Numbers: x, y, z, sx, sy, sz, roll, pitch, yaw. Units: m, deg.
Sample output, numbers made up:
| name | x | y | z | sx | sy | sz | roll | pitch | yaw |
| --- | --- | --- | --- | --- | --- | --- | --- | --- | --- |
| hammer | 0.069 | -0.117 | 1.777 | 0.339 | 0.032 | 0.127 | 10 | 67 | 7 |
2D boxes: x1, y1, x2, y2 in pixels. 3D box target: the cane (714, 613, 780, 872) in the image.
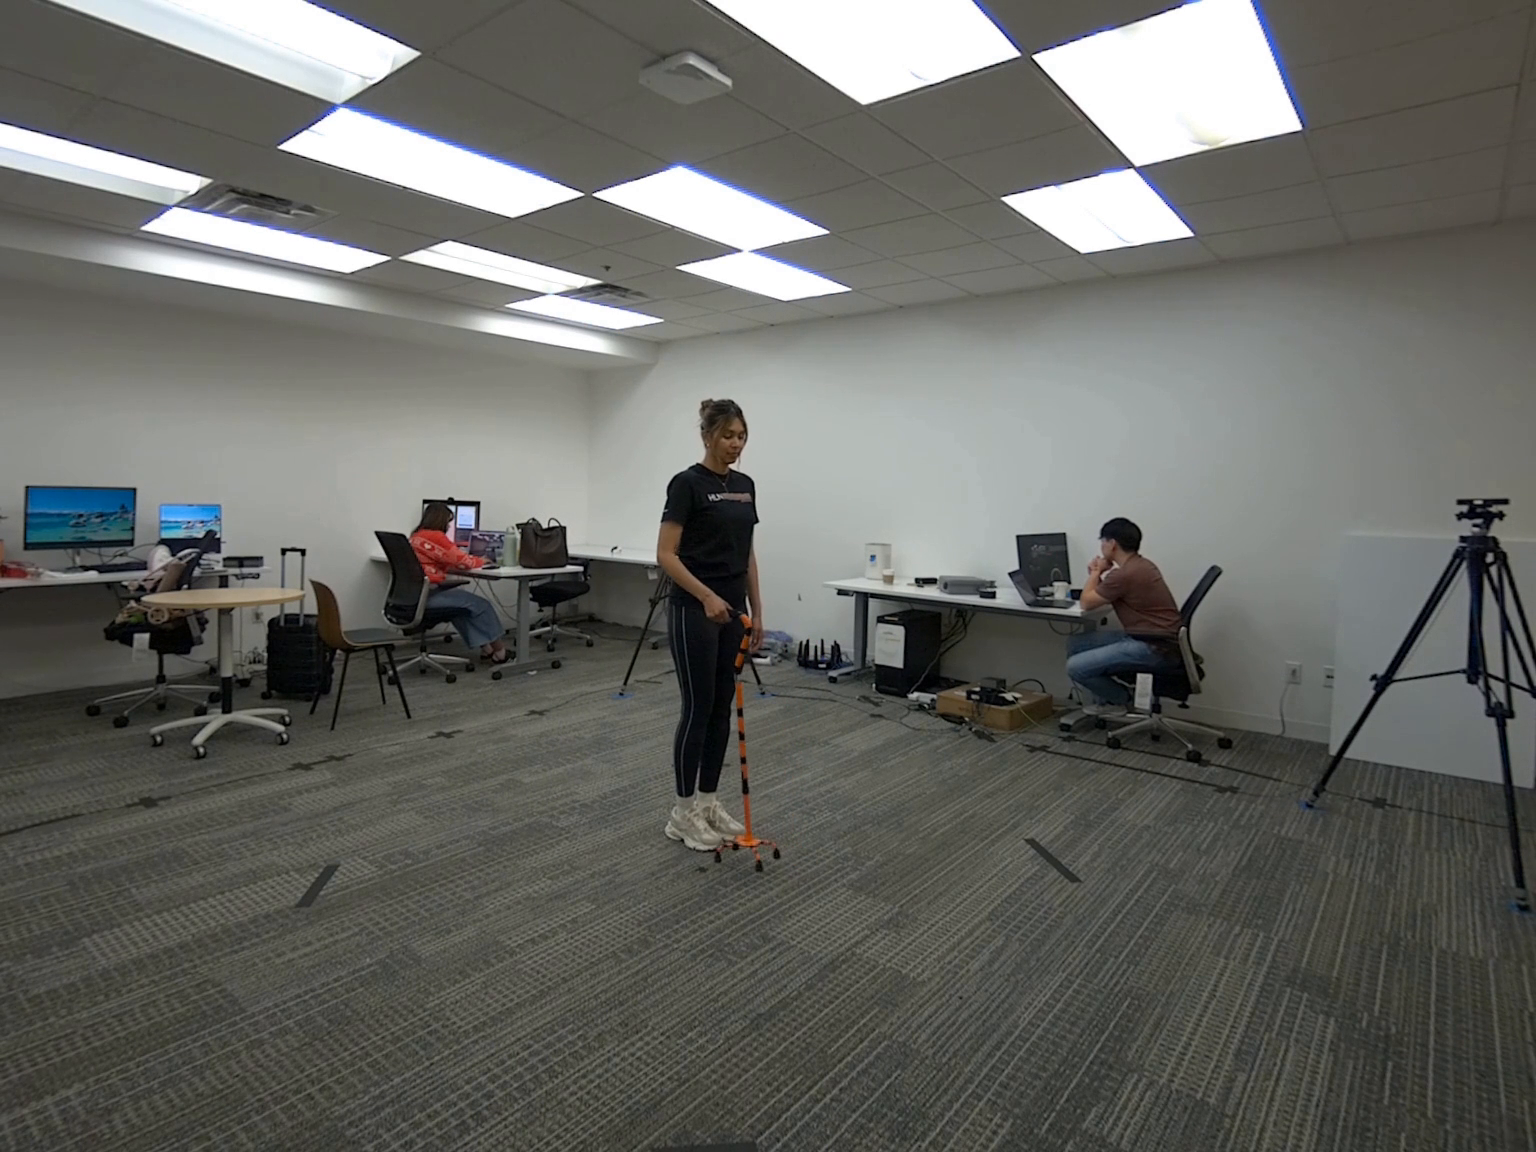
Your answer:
| name | x | y | z | sx | sy | sz | roll | pitch | yaw |
| --- | --- | --- | --- | --- | --- | --- | --- | --- | --- |
| cane | -0.118 | 0.583 | 3.078 | 0.212 | 0.906 | 0.148 | -3 | 3 | 31 |
